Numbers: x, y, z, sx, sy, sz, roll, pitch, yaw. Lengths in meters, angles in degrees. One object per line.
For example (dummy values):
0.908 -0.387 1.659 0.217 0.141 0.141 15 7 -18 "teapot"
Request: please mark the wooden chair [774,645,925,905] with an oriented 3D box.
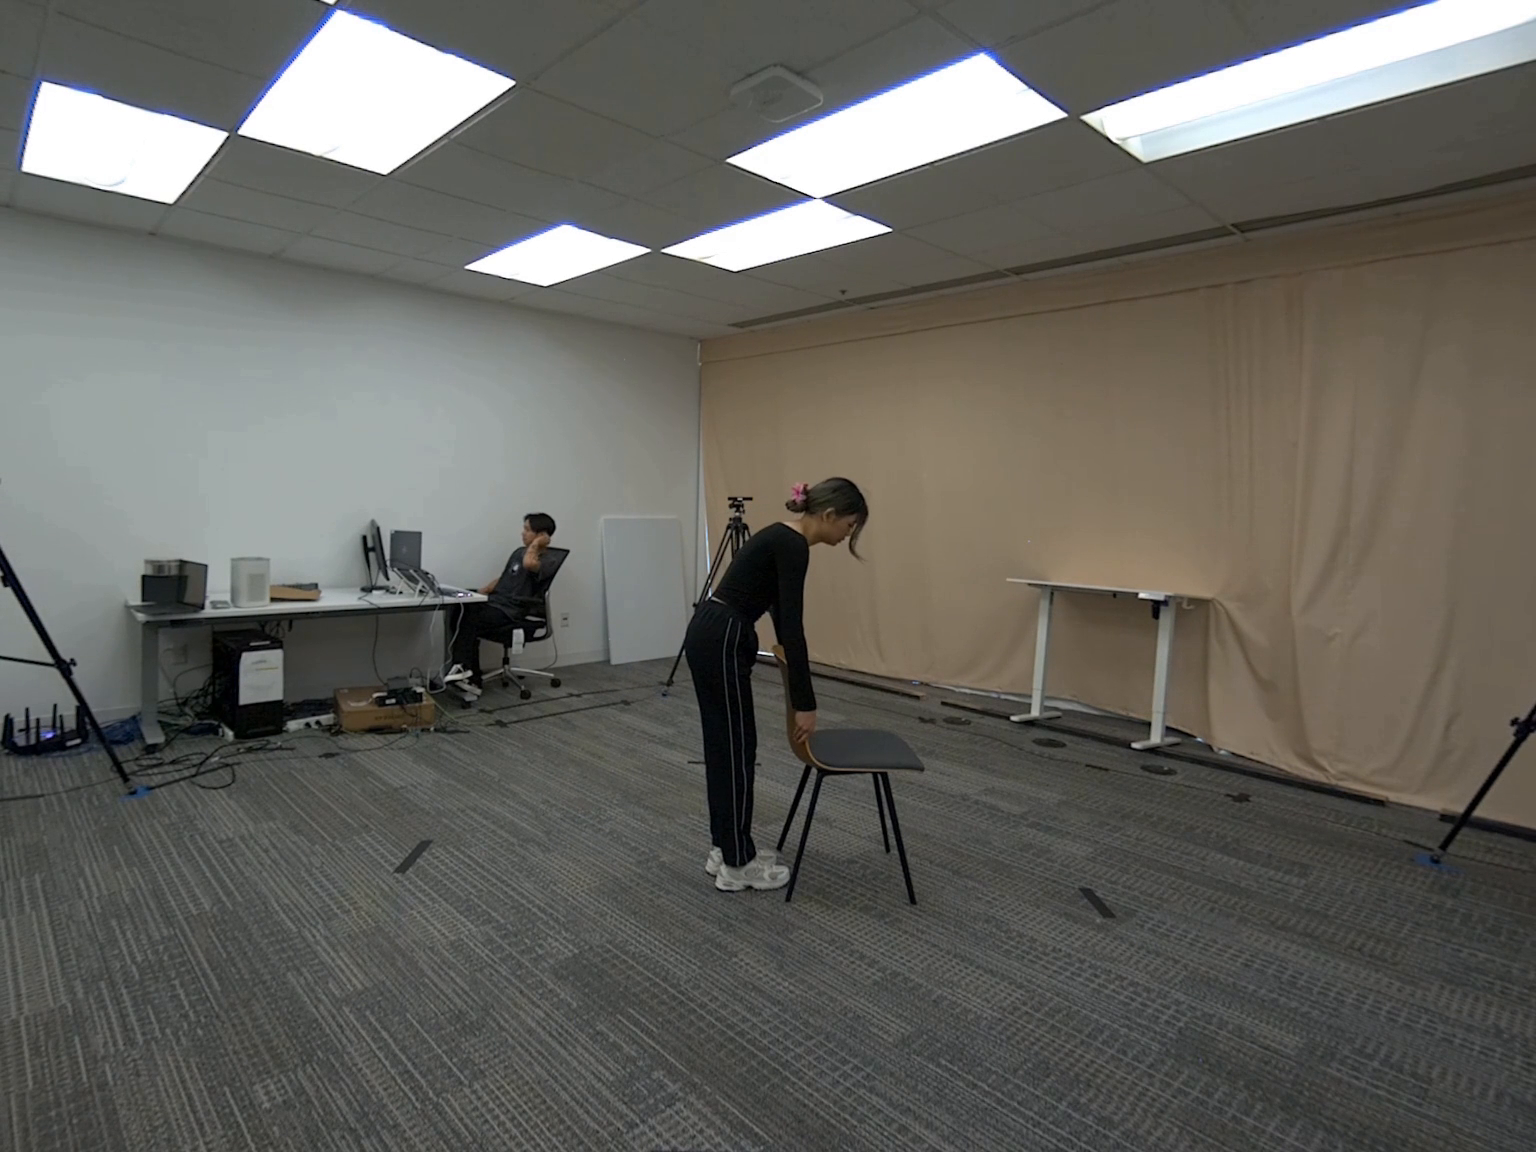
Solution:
0.286 0.687 3.111 0.522 0.876 0.480 -3 3 -3 "wooden chair"
